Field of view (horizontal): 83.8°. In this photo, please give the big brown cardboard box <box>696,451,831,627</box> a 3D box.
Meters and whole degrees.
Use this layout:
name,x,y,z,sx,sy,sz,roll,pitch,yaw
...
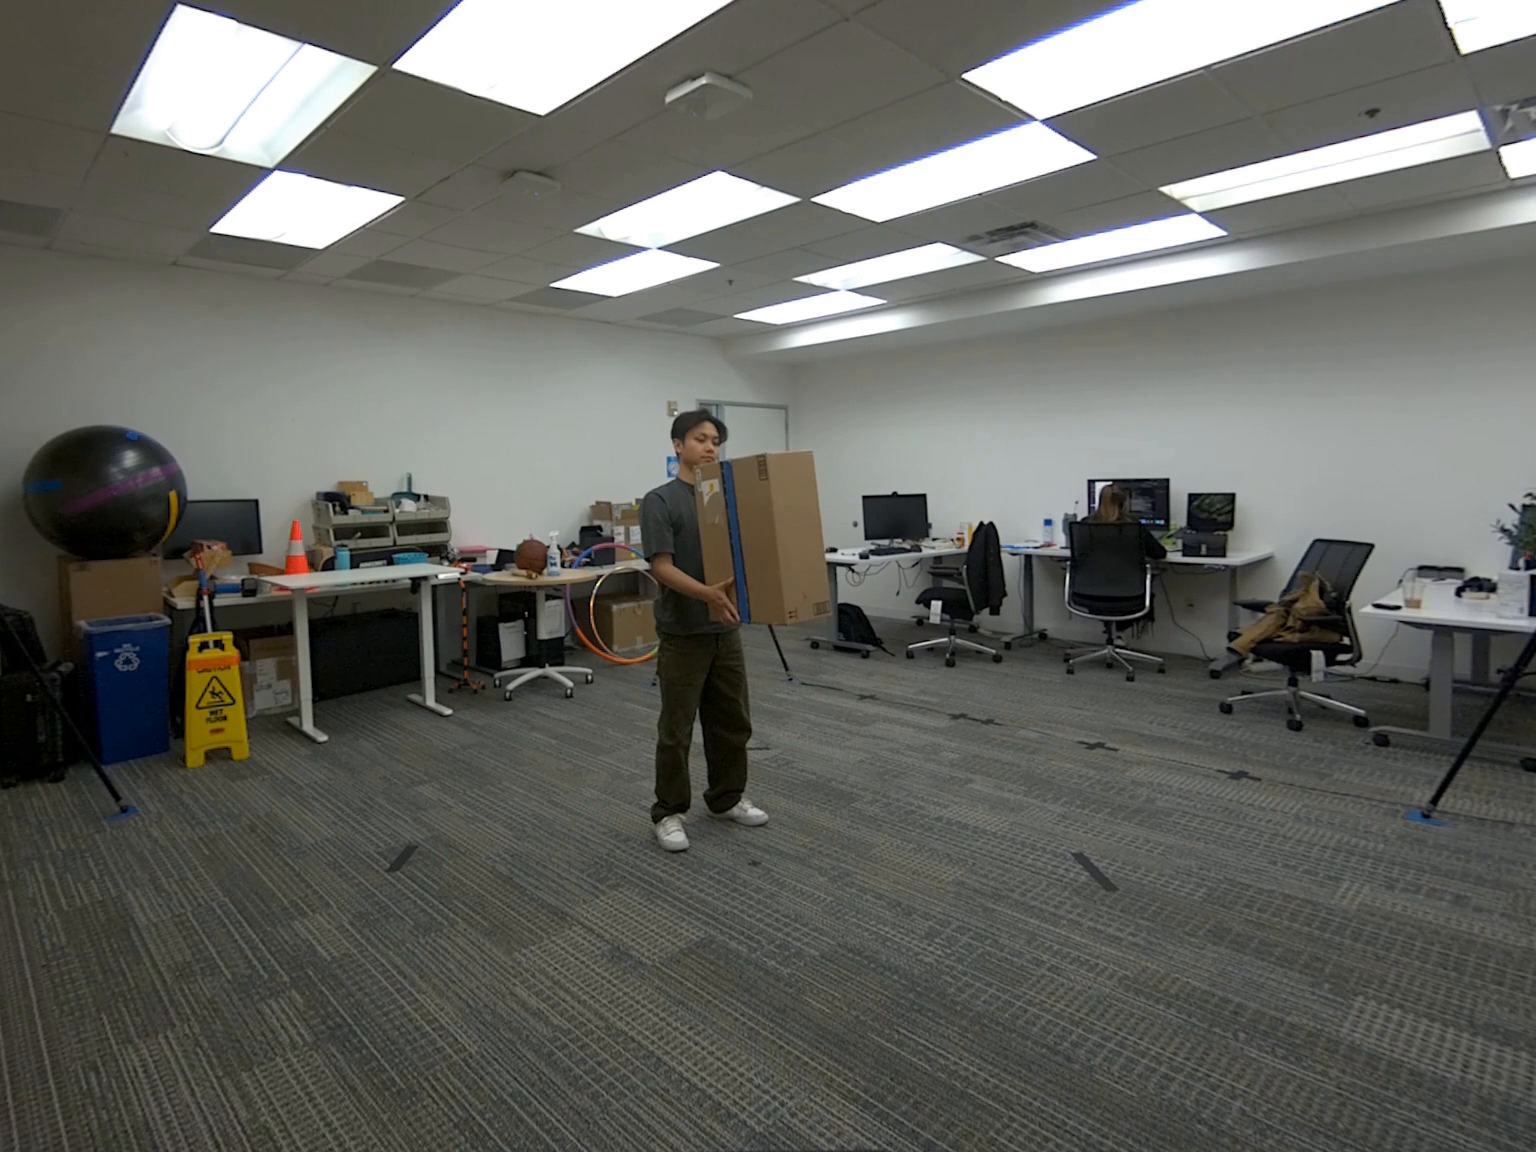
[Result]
name,x,y,z,sx,sy,sz,roll,pitch,yaw
big brown cardboard box,-0.025,-0.134,2.991,0.227,0.588,0.428,-9,3,-39
